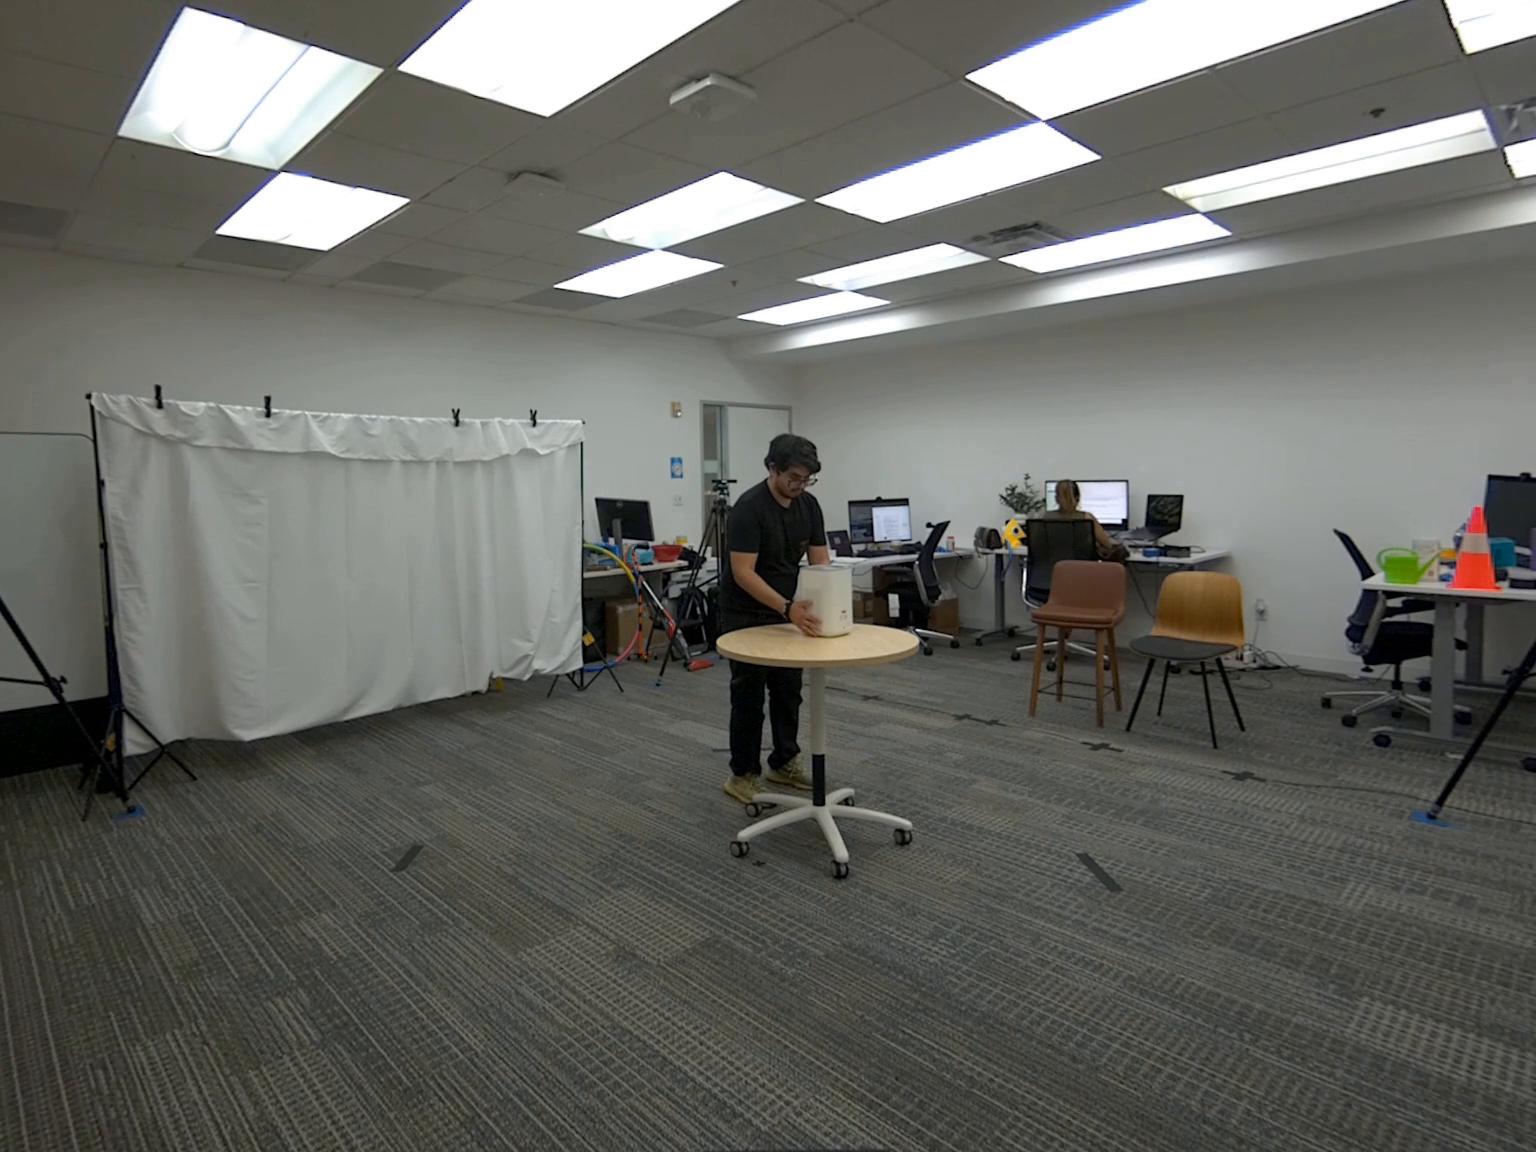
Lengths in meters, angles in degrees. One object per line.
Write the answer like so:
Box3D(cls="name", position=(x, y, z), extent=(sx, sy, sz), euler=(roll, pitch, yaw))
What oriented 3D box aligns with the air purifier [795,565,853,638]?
Box3D(cls="air purifier", position=(0.229, 0.099, 3.369), extent=(0.177, 0.264, 0.166), euler=(4, 5, 41))
